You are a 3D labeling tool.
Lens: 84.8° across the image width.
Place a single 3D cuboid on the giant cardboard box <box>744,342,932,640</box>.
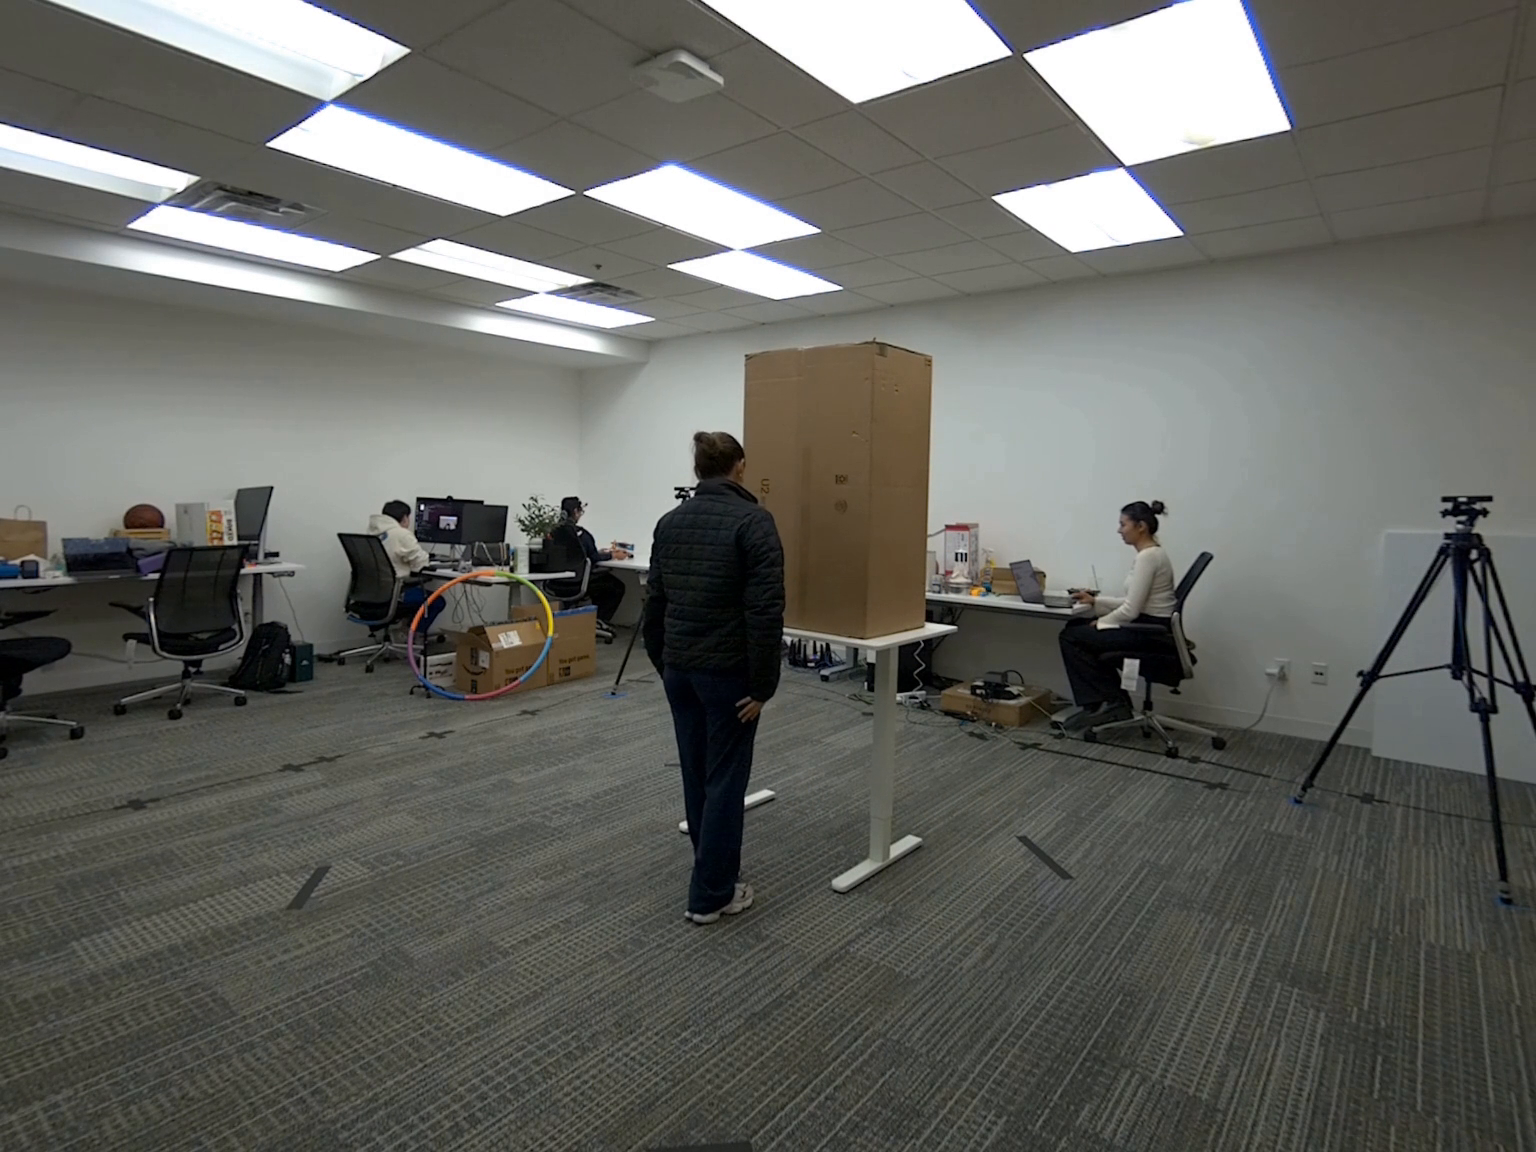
[{"bbox_3d":[0.270,-0.330,3.241,0.604,1.024,0.433,5,4,42],"label":"giant cardboard box"}]
